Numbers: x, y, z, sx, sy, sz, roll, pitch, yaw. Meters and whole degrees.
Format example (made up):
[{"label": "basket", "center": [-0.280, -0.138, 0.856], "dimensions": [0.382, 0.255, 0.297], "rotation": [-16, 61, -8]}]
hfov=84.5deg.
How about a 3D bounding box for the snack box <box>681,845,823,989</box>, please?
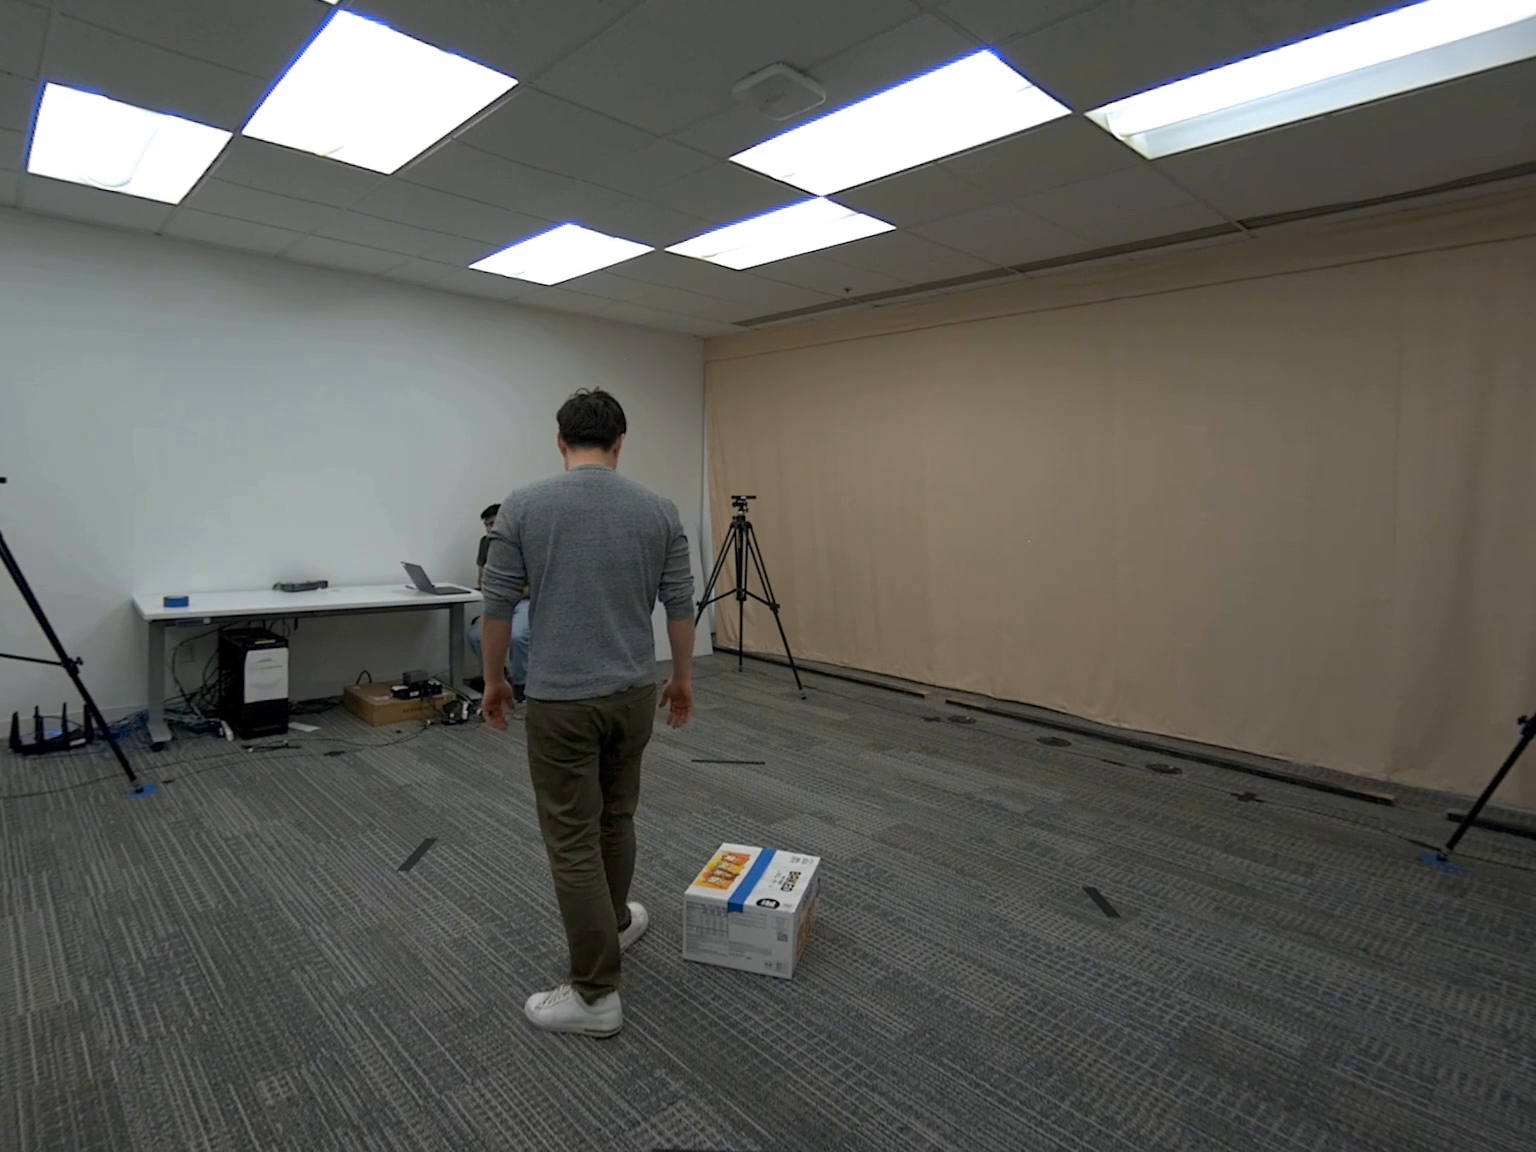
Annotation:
[{"label": "snack box", "center": [-0.041, 1.048, 2.653], "dimensions": [0.345, 0.205, 0.401], "rotation": [2, 5, 16]}]
